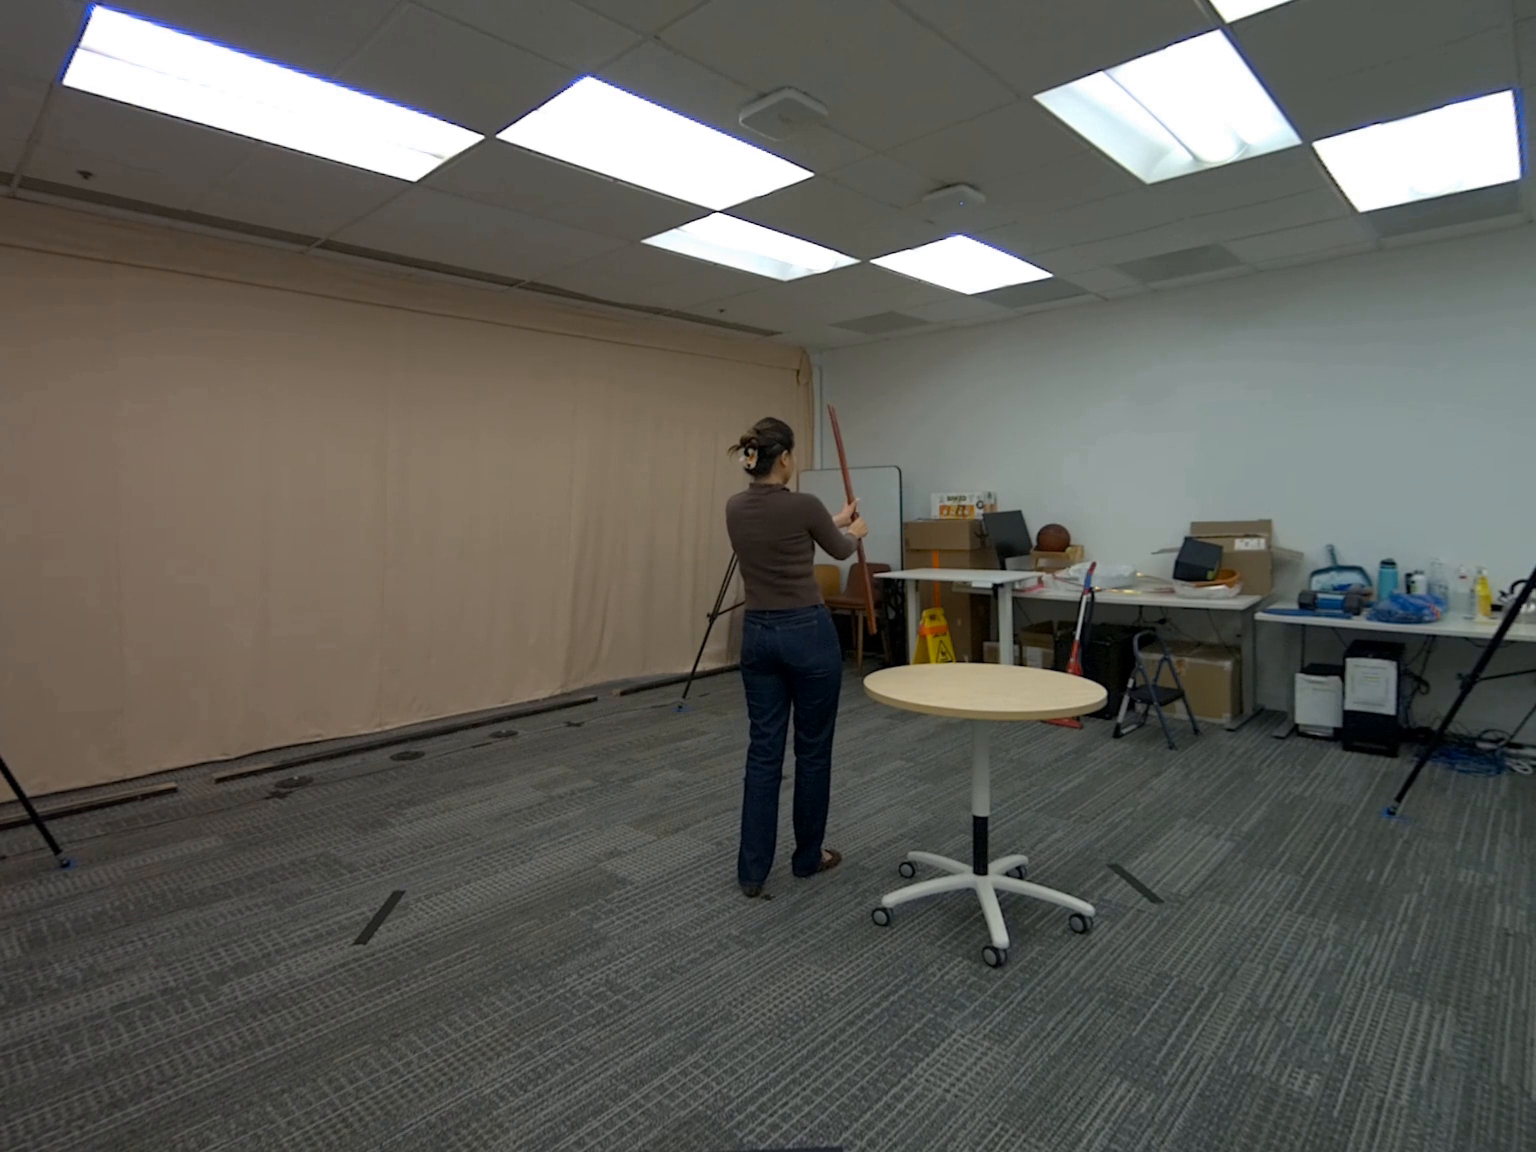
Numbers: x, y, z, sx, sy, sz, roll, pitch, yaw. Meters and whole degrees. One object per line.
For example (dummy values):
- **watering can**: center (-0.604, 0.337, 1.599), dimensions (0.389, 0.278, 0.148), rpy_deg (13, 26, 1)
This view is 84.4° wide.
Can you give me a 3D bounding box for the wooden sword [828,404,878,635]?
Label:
- **wooden sword**: center (0.353, -0.286, 3.518), dimensions (0.023, 1.038, 0.052), rpy_deg (2, -20, -31)
